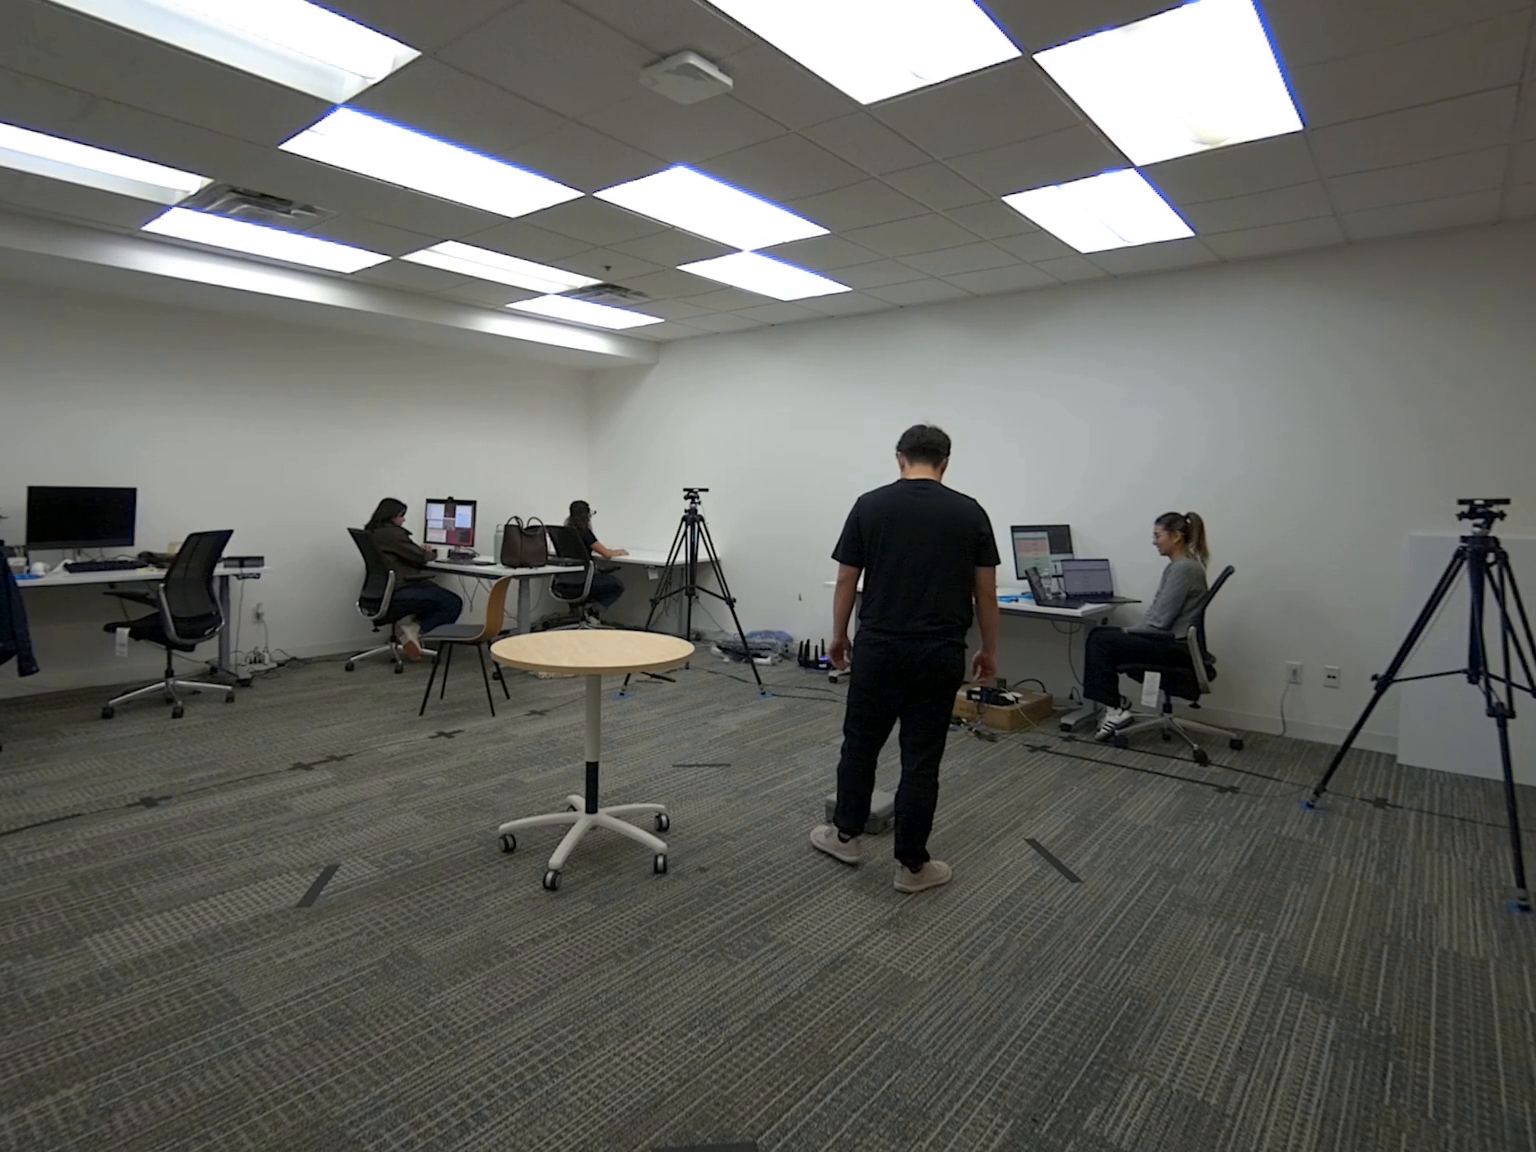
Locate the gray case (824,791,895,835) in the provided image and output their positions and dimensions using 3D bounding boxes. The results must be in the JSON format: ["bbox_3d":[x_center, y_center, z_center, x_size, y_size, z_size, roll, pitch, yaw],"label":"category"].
[{"bbox_3d":[0.398,0.979,3.614,0.269,0.104,0.250,5,5,33],"label":"gray case"}]
